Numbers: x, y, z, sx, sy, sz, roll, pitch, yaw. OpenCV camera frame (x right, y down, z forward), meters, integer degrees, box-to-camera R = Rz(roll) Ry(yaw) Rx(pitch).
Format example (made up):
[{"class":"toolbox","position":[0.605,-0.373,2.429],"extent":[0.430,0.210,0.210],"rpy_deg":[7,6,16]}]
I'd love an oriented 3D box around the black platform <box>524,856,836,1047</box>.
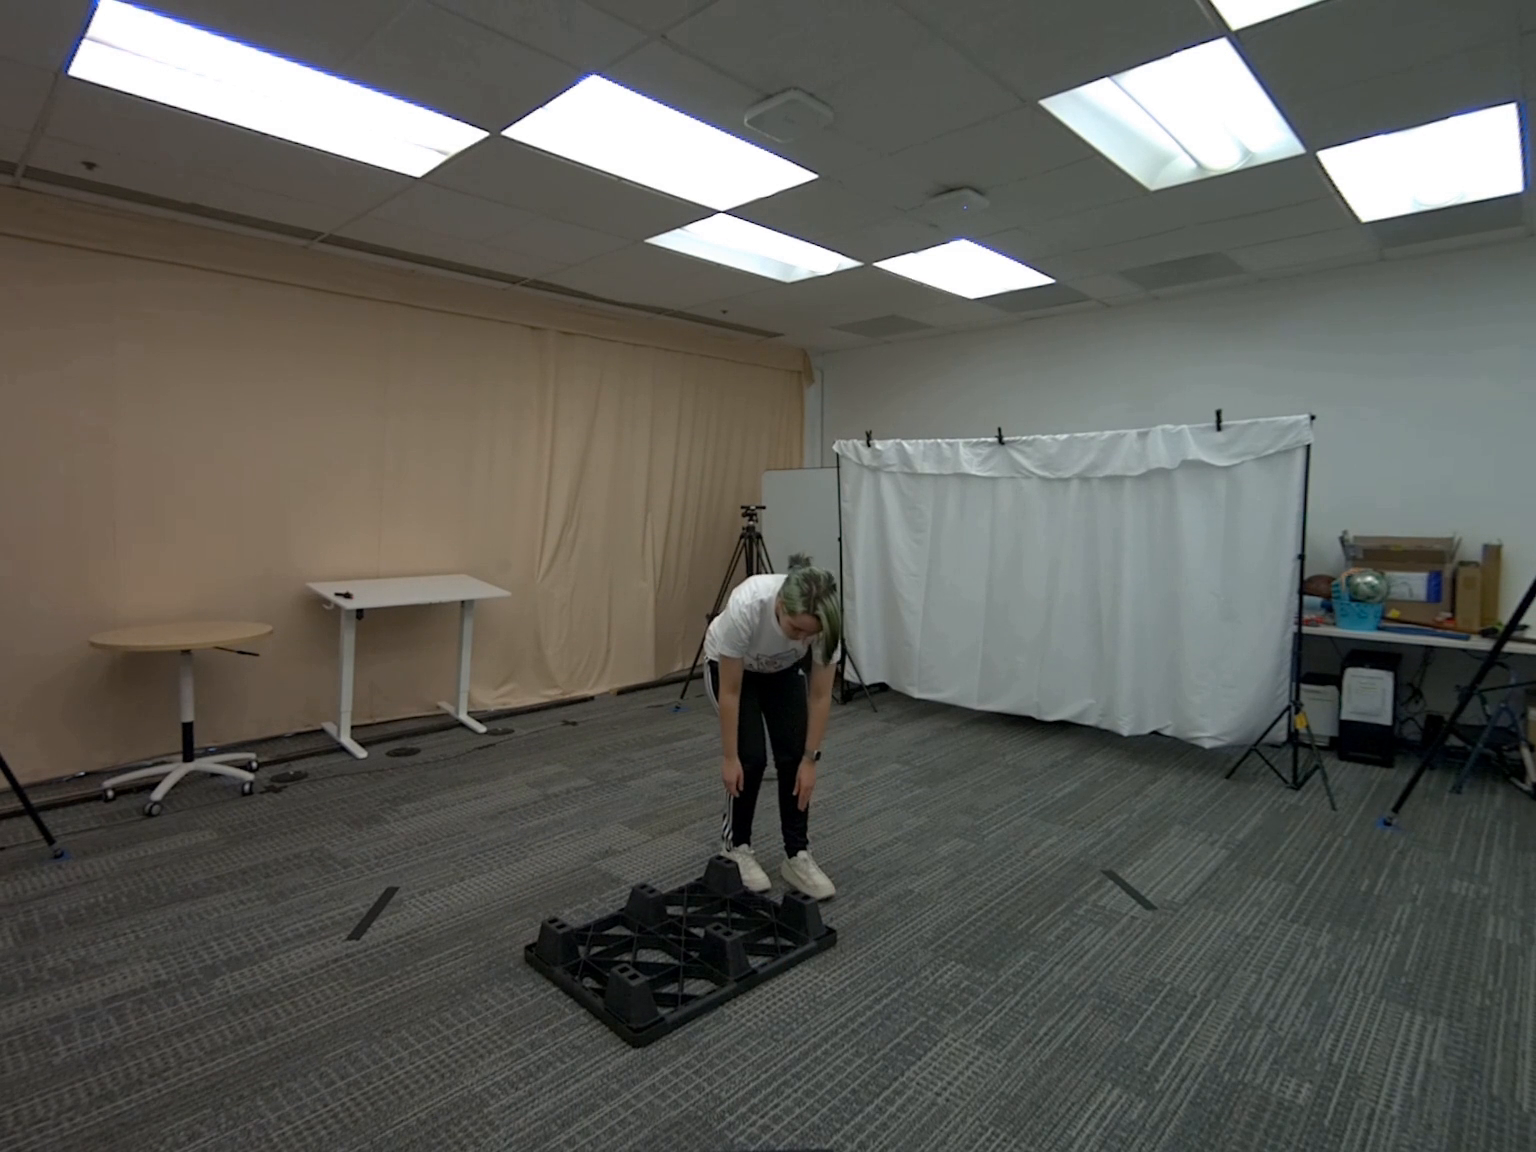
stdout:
[{"class":"black platform","position":[-0.263,1.109,2.640],"extent":[0.781,0.143,0.626],"rpy_deg":[-4,7,-43]}]
